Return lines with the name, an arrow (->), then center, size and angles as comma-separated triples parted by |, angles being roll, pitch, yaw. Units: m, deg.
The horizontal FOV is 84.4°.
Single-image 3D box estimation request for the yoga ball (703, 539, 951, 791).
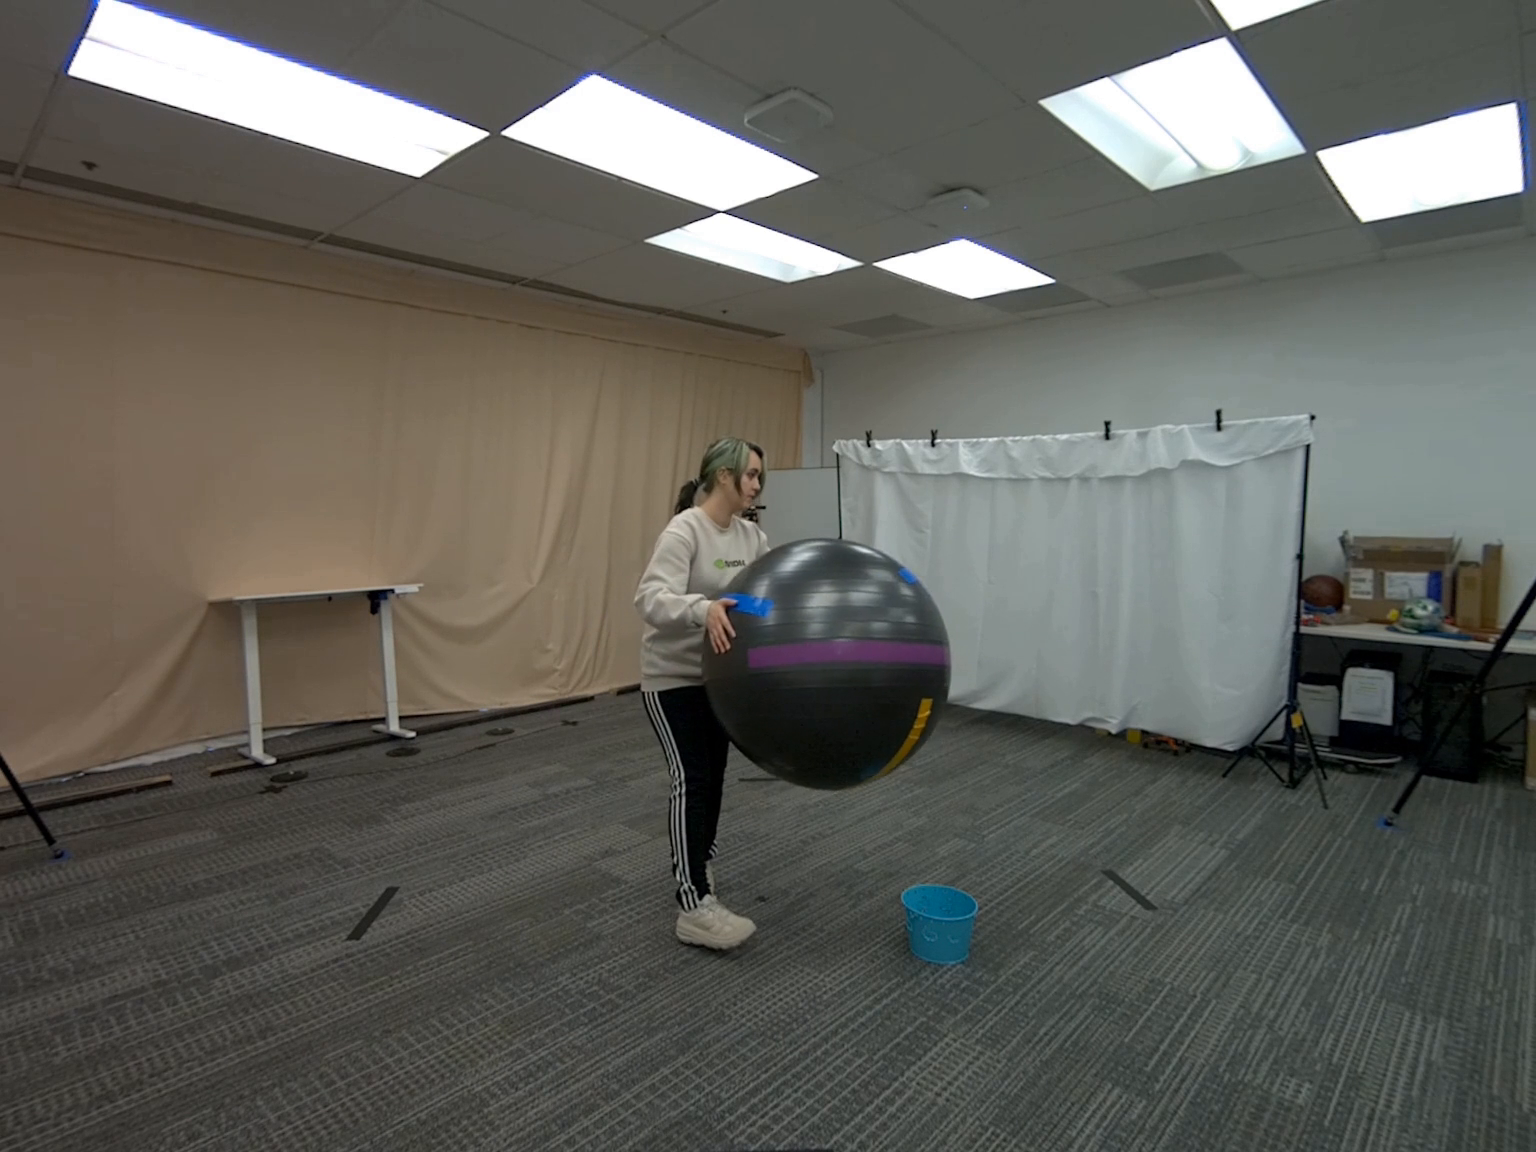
yoga ball -> 0.180, 0.274, 2.581 | 0.757, 0.756, 0.760 | 0, 4, -2
